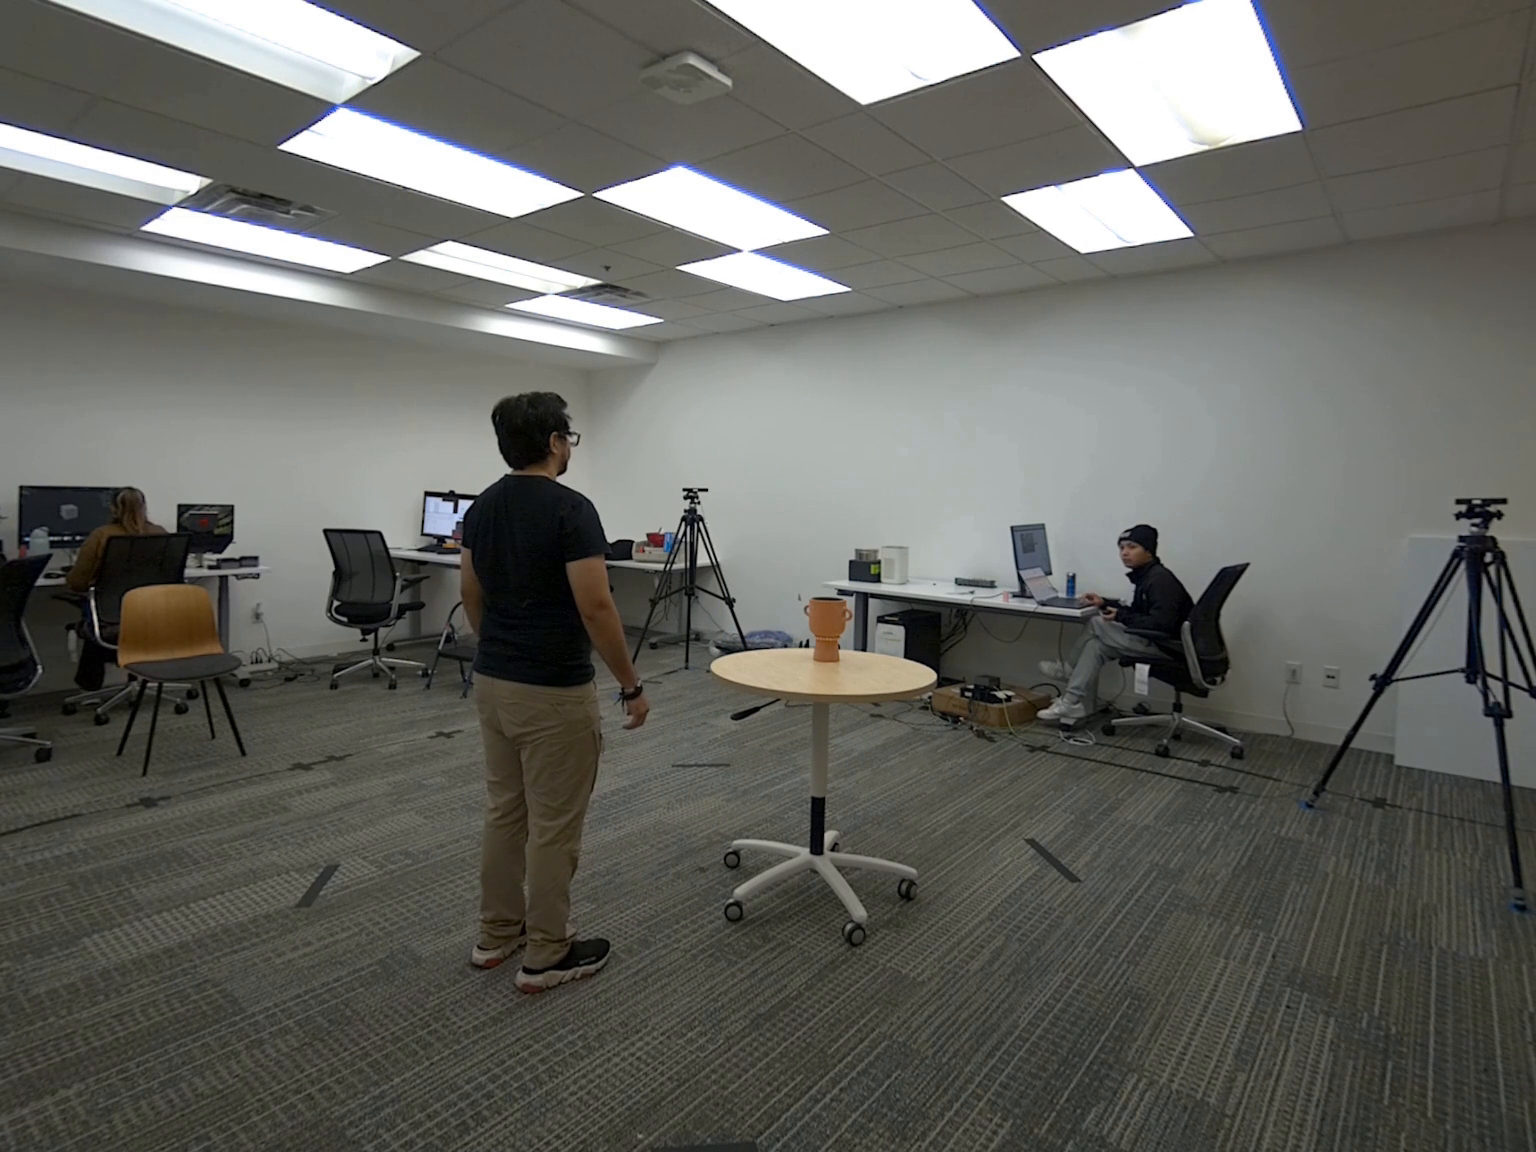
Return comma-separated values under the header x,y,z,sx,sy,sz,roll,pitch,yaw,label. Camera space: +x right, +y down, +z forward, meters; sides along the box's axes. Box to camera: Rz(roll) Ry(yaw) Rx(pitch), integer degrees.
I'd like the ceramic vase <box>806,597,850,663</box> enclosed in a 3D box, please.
x,y,z,sx,sy,sz,roll,pitch,yaw,label
0.205,0.191,3.071,0.132,0.219,0.162,0,3,-17,ceramic vase
